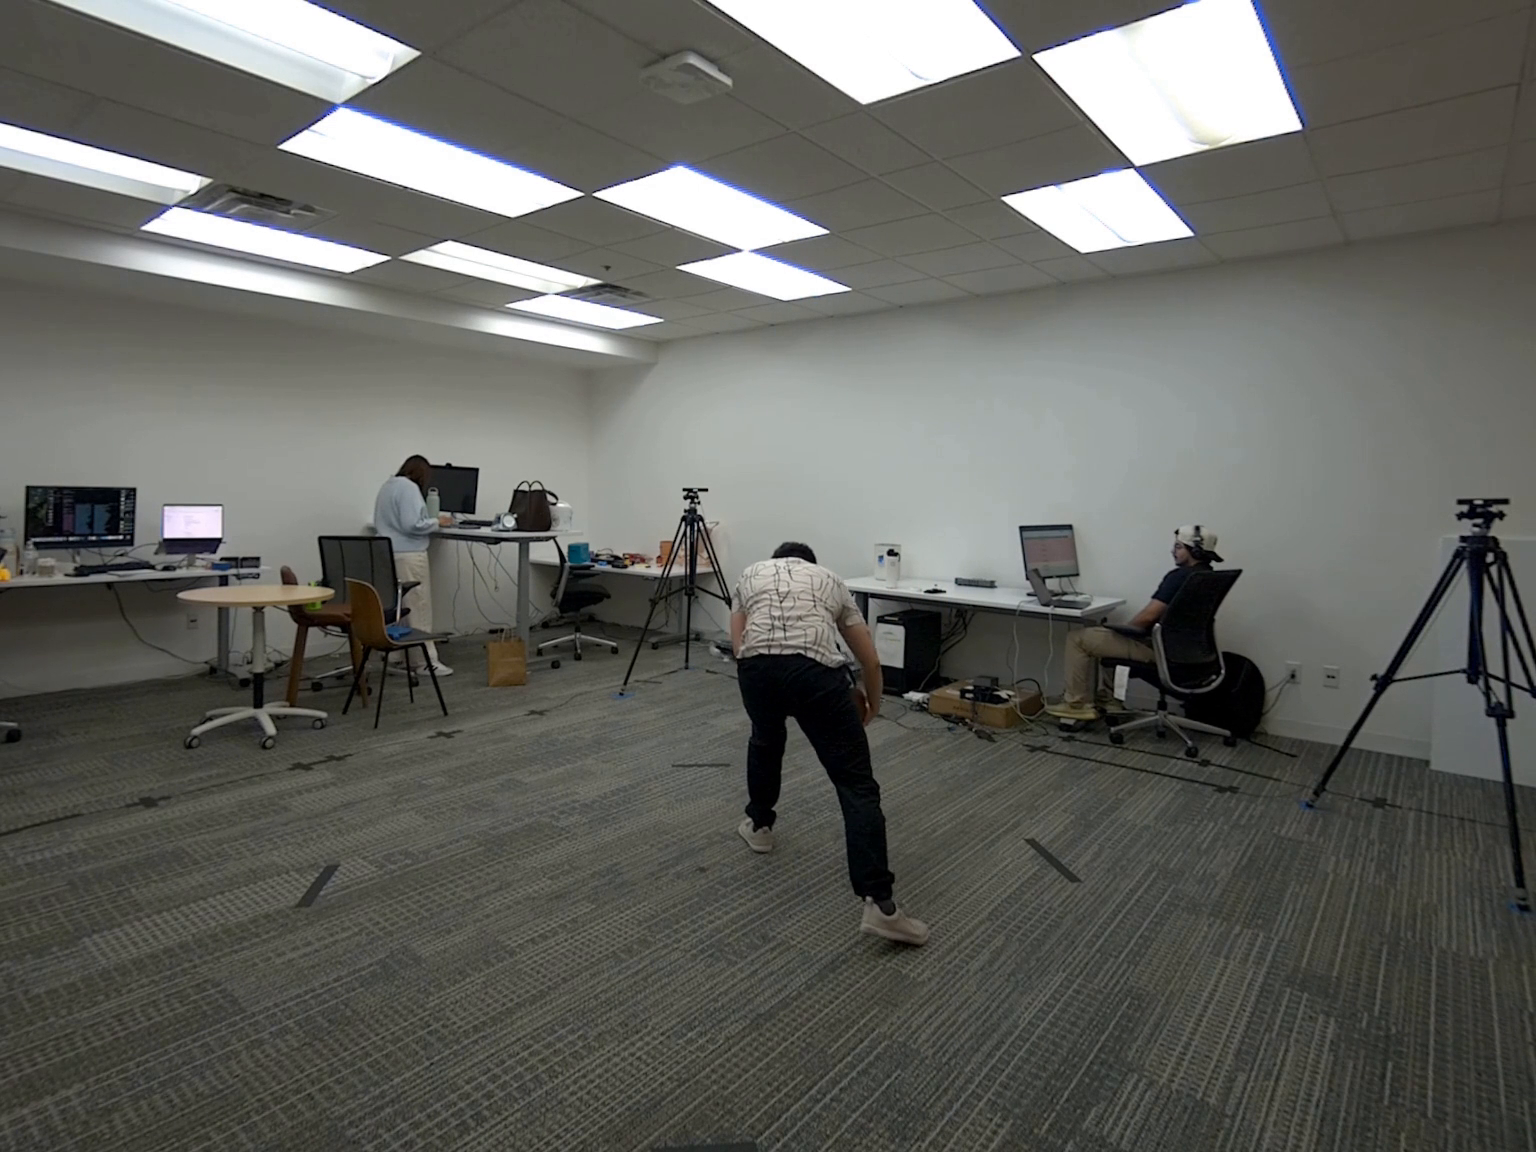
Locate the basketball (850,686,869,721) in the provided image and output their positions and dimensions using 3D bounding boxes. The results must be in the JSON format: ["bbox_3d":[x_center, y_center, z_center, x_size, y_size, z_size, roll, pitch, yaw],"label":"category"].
[{"bbox_3d":[0.264,0.511,3.449,0.235,0.235,0.237,1,4,-2],"label":"basketball"}]
